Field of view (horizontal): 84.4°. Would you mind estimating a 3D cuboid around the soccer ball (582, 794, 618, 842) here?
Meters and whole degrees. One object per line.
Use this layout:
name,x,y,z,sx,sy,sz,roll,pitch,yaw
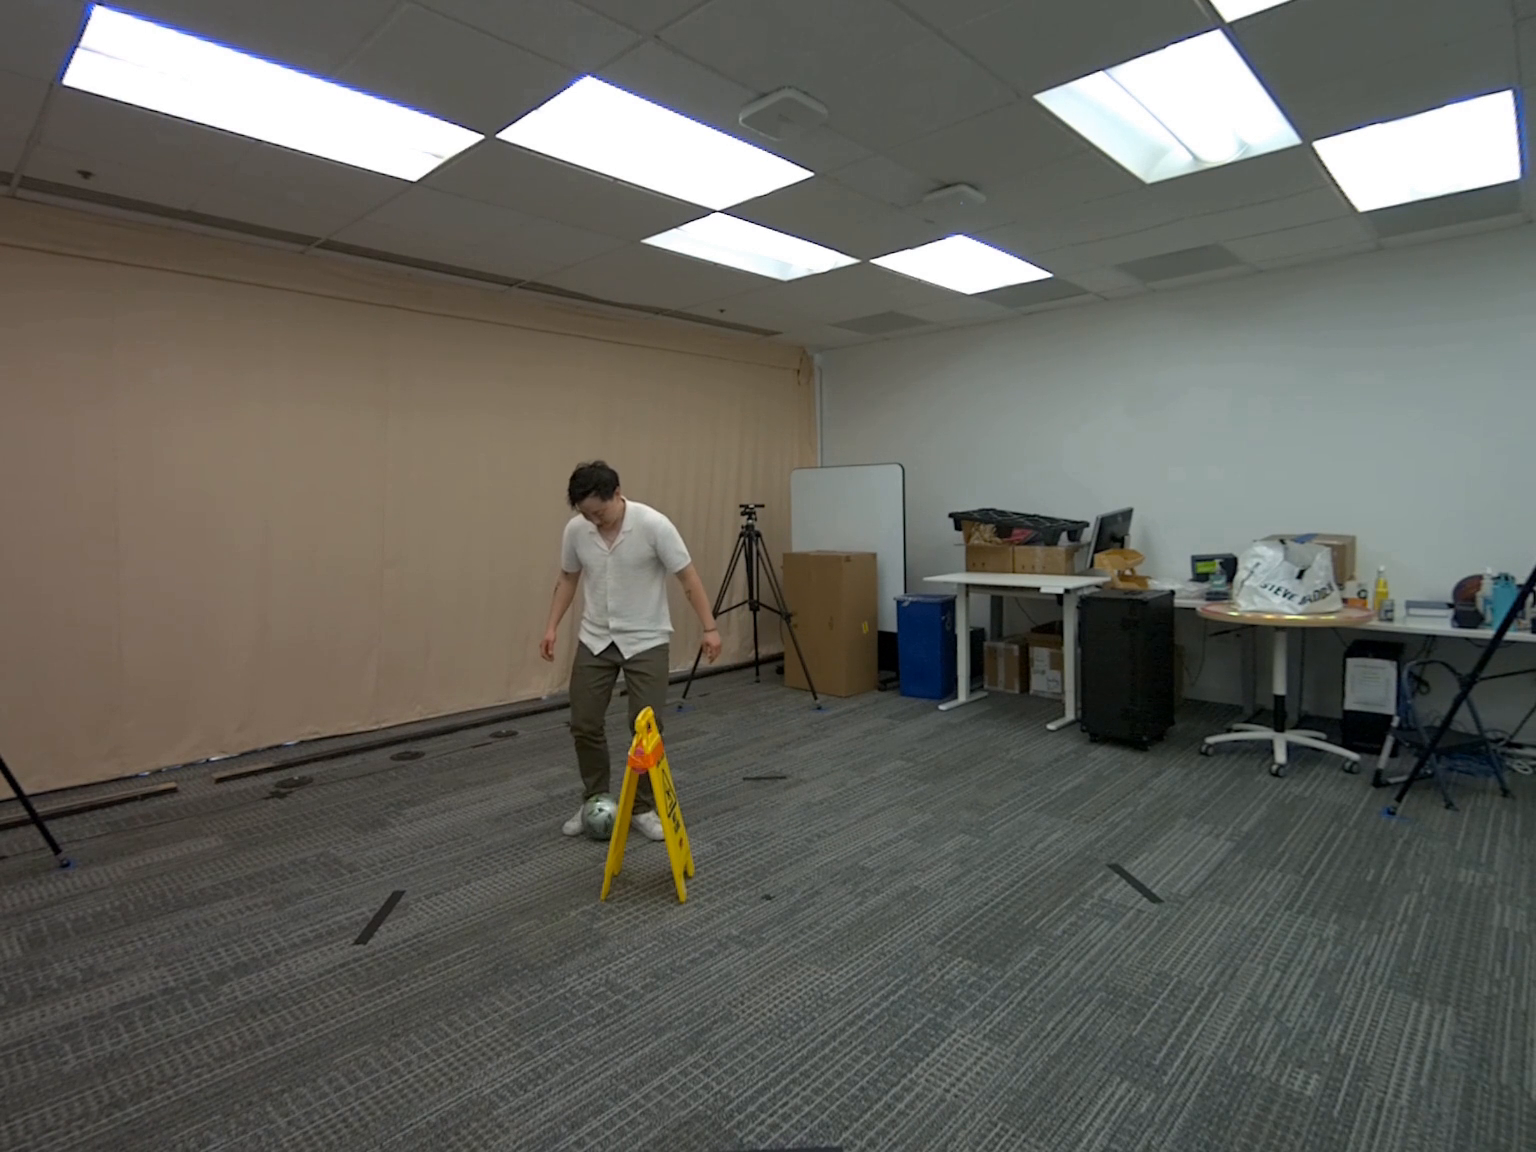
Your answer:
soccer ball,-0.689,1.017,3.554,0.187,0.187,0.188,-1,4,-2
